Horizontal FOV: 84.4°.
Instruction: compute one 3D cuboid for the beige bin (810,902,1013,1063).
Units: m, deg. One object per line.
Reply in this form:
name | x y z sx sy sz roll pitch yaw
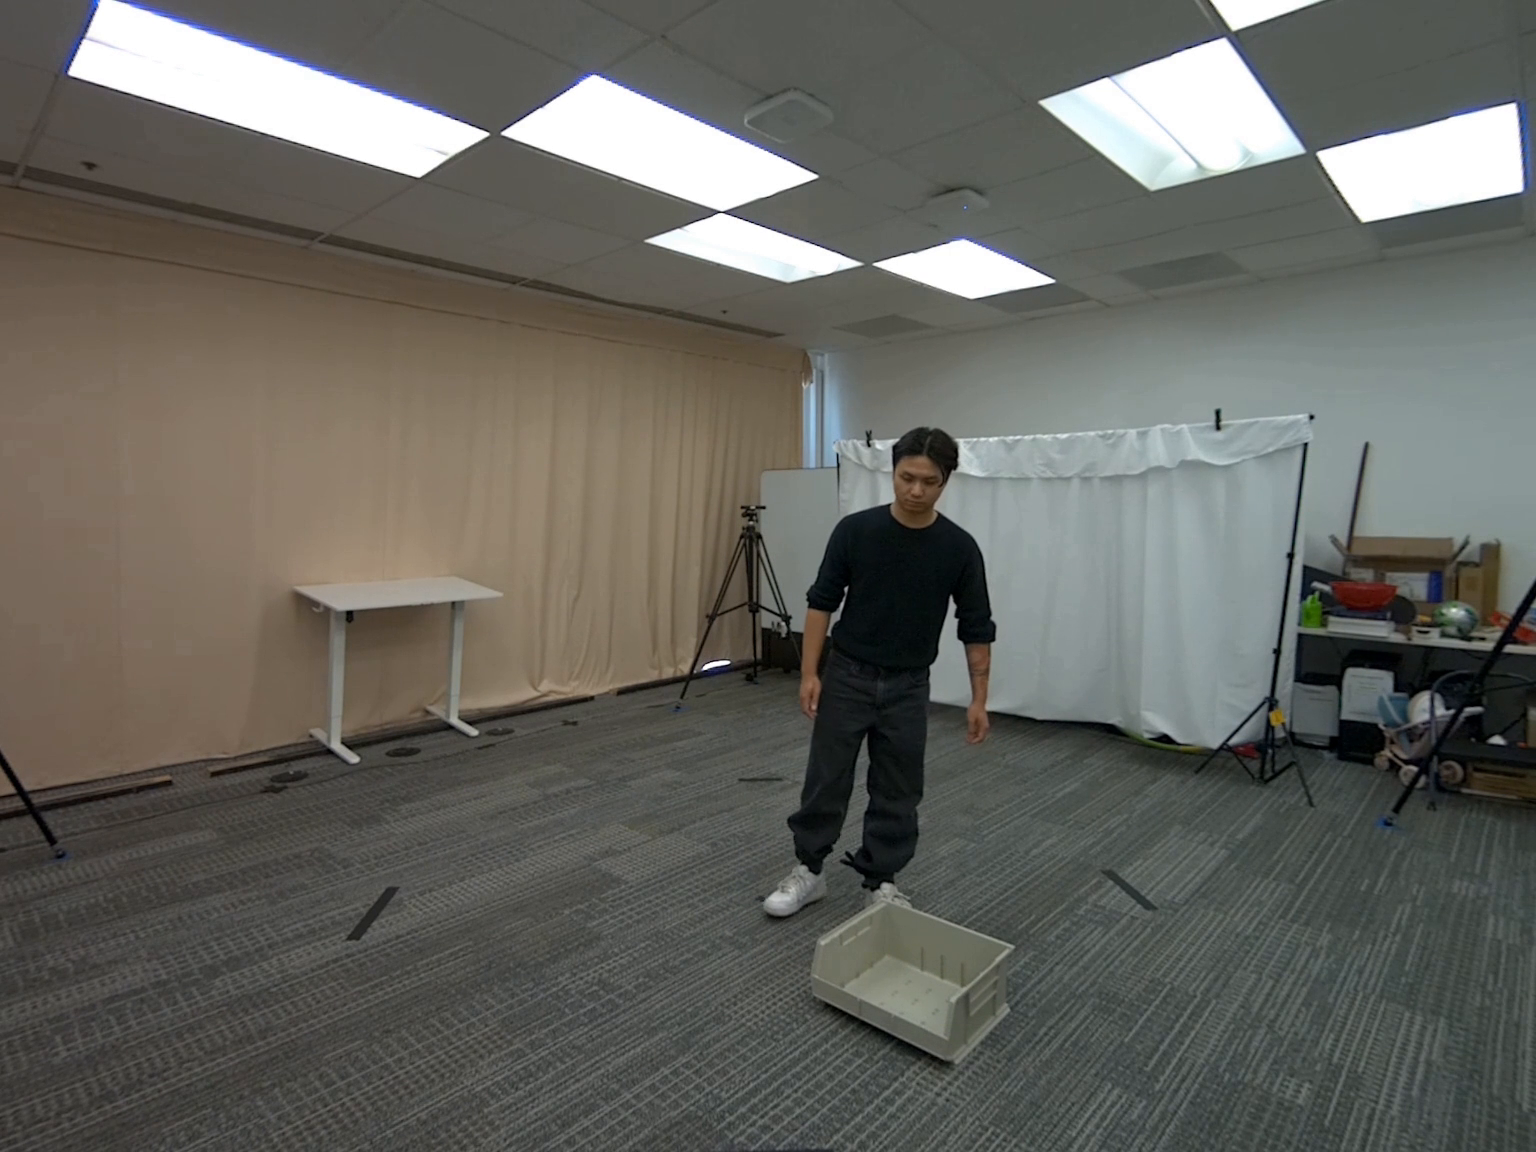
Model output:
beige bin | 0.401 1.108 2.326 0.436 0.188 0.366 3 5 41
